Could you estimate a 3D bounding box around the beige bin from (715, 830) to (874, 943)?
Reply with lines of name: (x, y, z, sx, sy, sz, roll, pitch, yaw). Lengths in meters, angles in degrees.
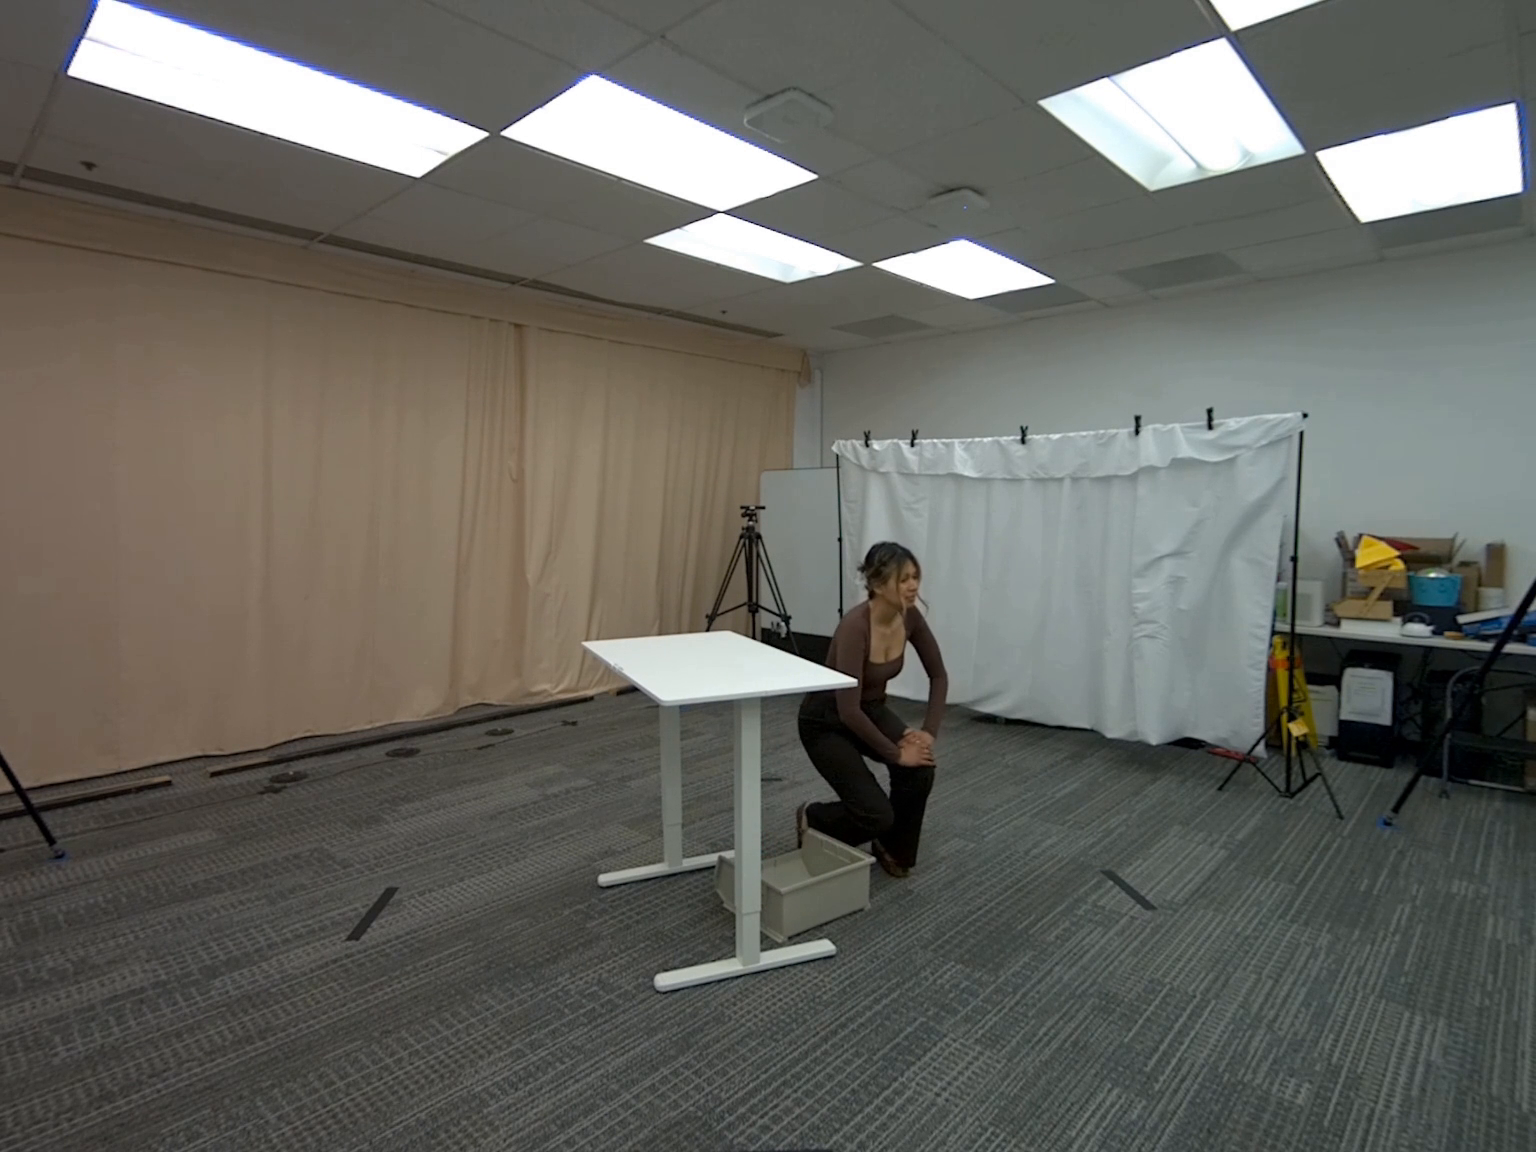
beige bin: (0.091, 1.061, 2.933, 0.410, 0.188, 0.390, -3, 7, -37)
